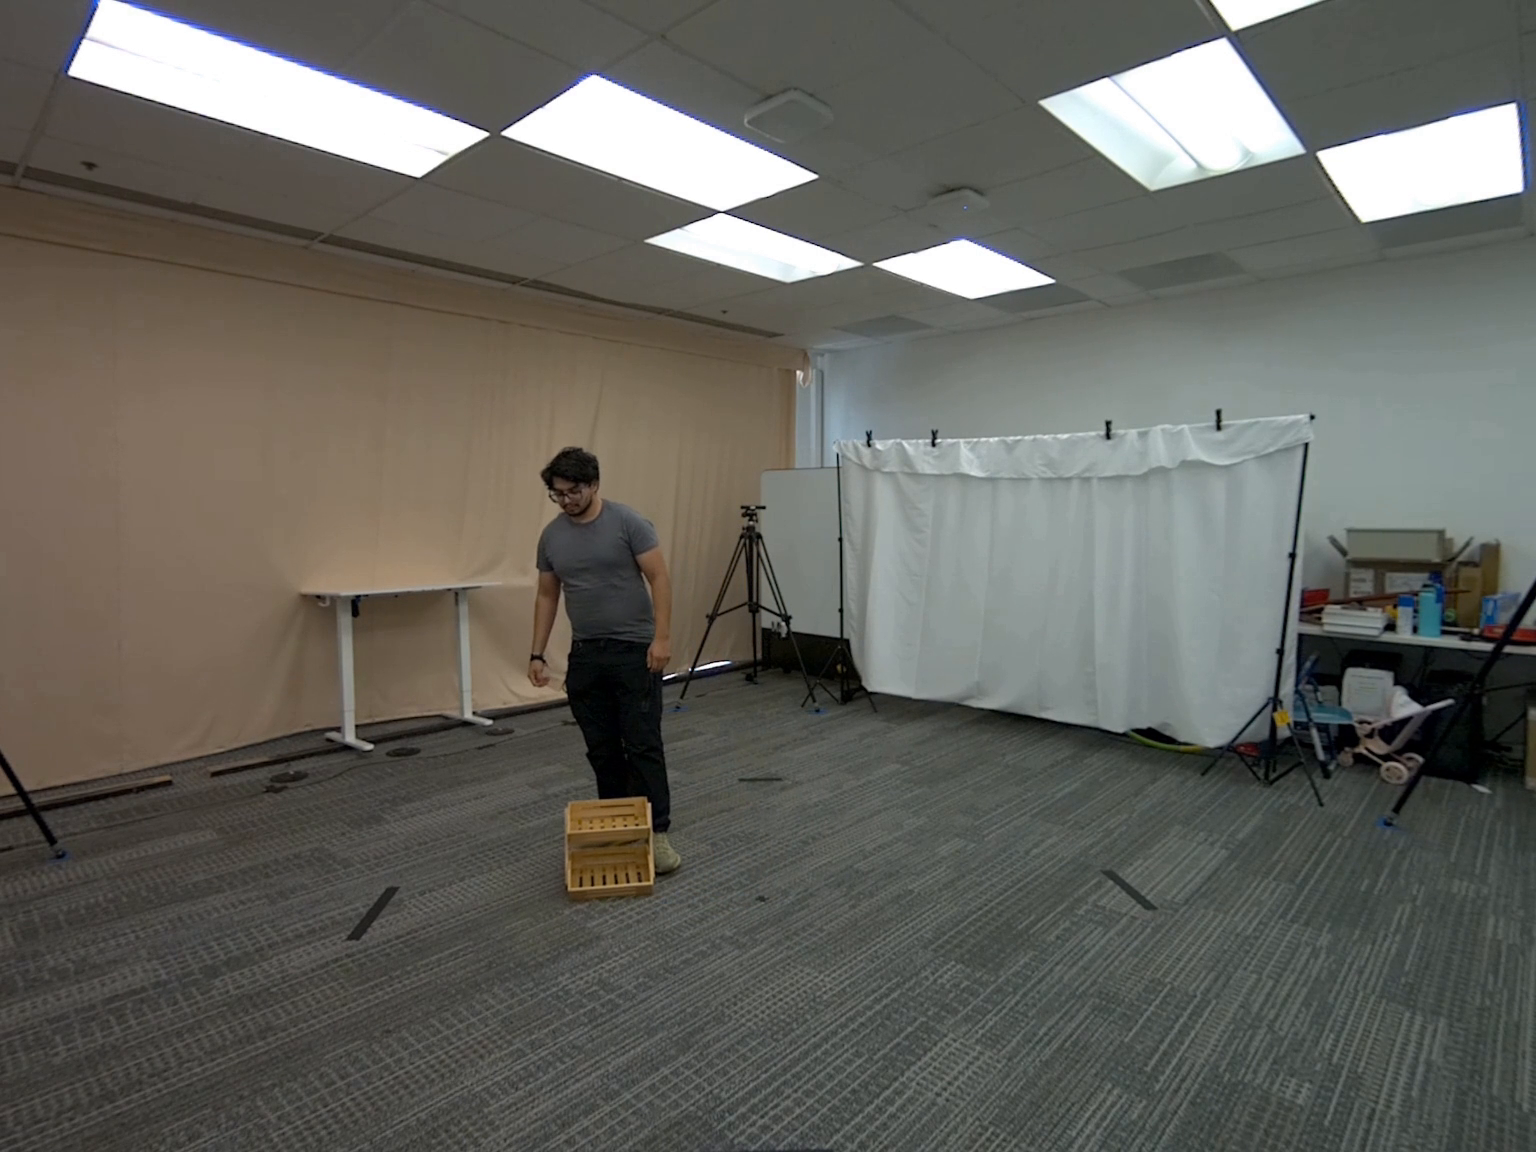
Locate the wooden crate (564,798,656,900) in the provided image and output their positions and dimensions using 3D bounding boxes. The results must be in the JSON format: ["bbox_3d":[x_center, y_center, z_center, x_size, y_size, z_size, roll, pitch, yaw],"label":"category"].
[{"bbox_3d":[-0.588,0.999,3.119,0.321,0.273,0.306,-1,3,-10],"label":"wooden crate"}]
